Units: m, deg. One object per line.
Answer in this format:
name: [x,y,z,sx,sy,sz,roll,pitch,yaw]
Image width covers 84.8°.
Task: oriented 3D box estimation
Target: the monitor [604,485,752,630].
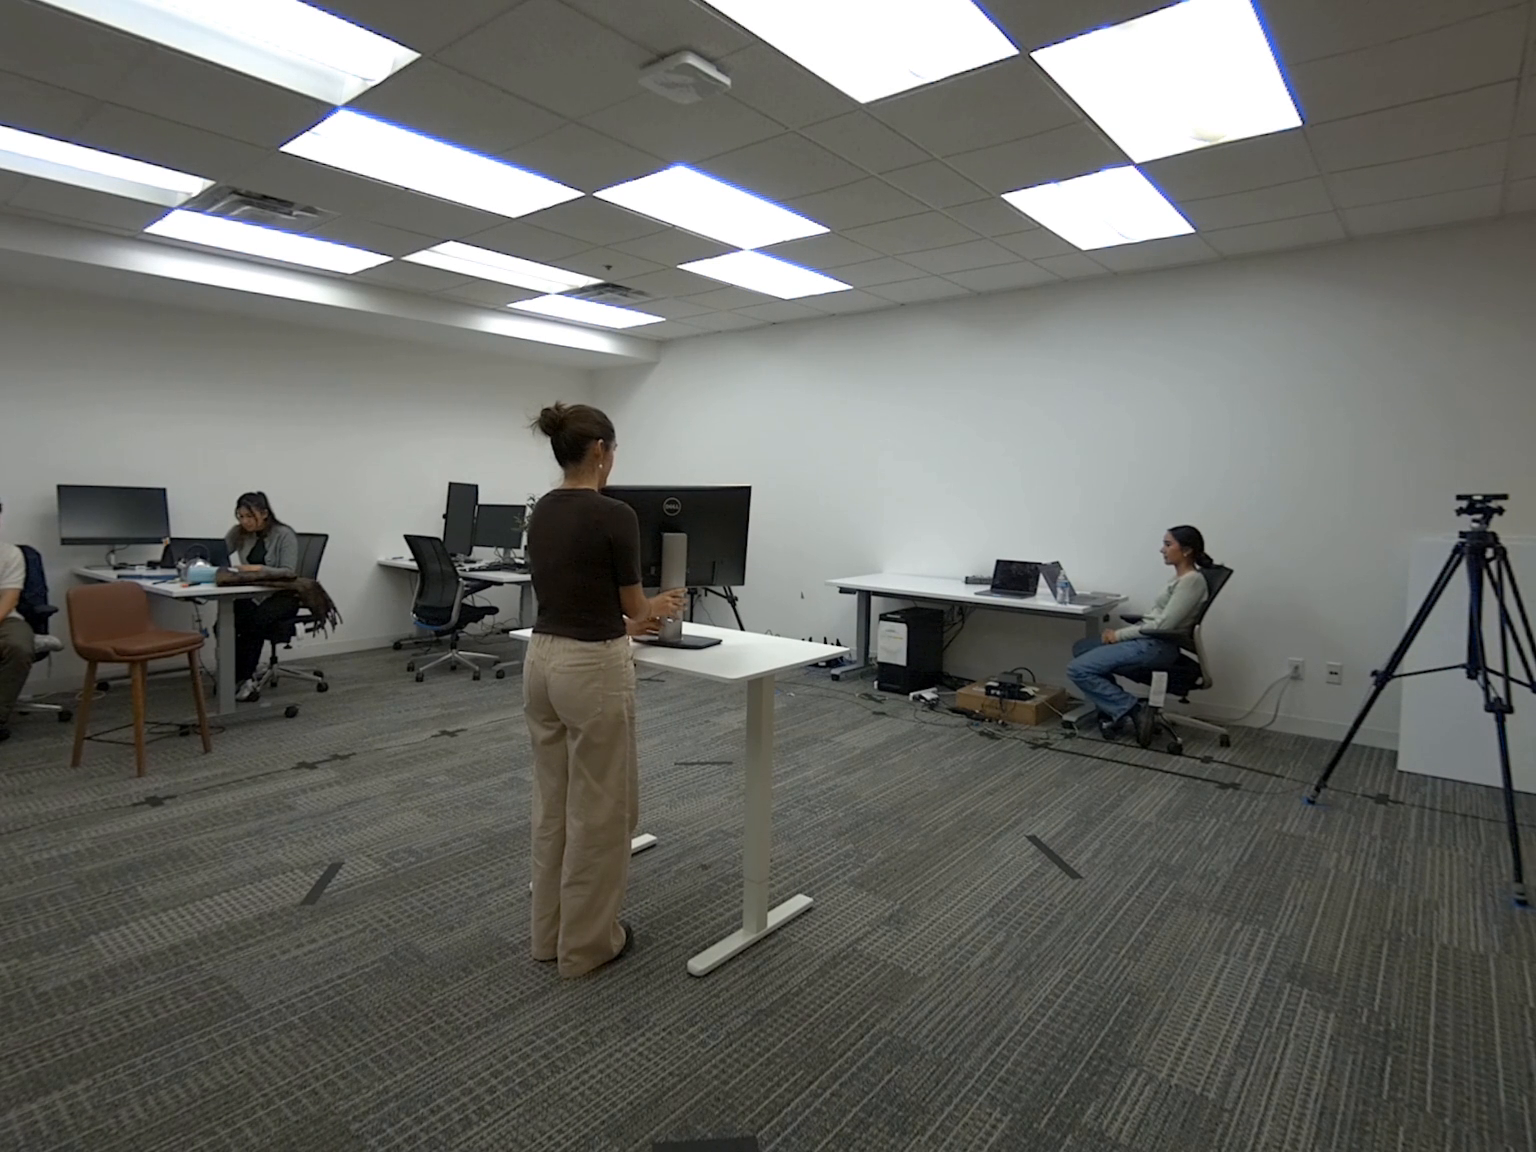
monitor: [-0.328,-0.036,2.764,0.531,0.519,0.191,-4,7,-16]
